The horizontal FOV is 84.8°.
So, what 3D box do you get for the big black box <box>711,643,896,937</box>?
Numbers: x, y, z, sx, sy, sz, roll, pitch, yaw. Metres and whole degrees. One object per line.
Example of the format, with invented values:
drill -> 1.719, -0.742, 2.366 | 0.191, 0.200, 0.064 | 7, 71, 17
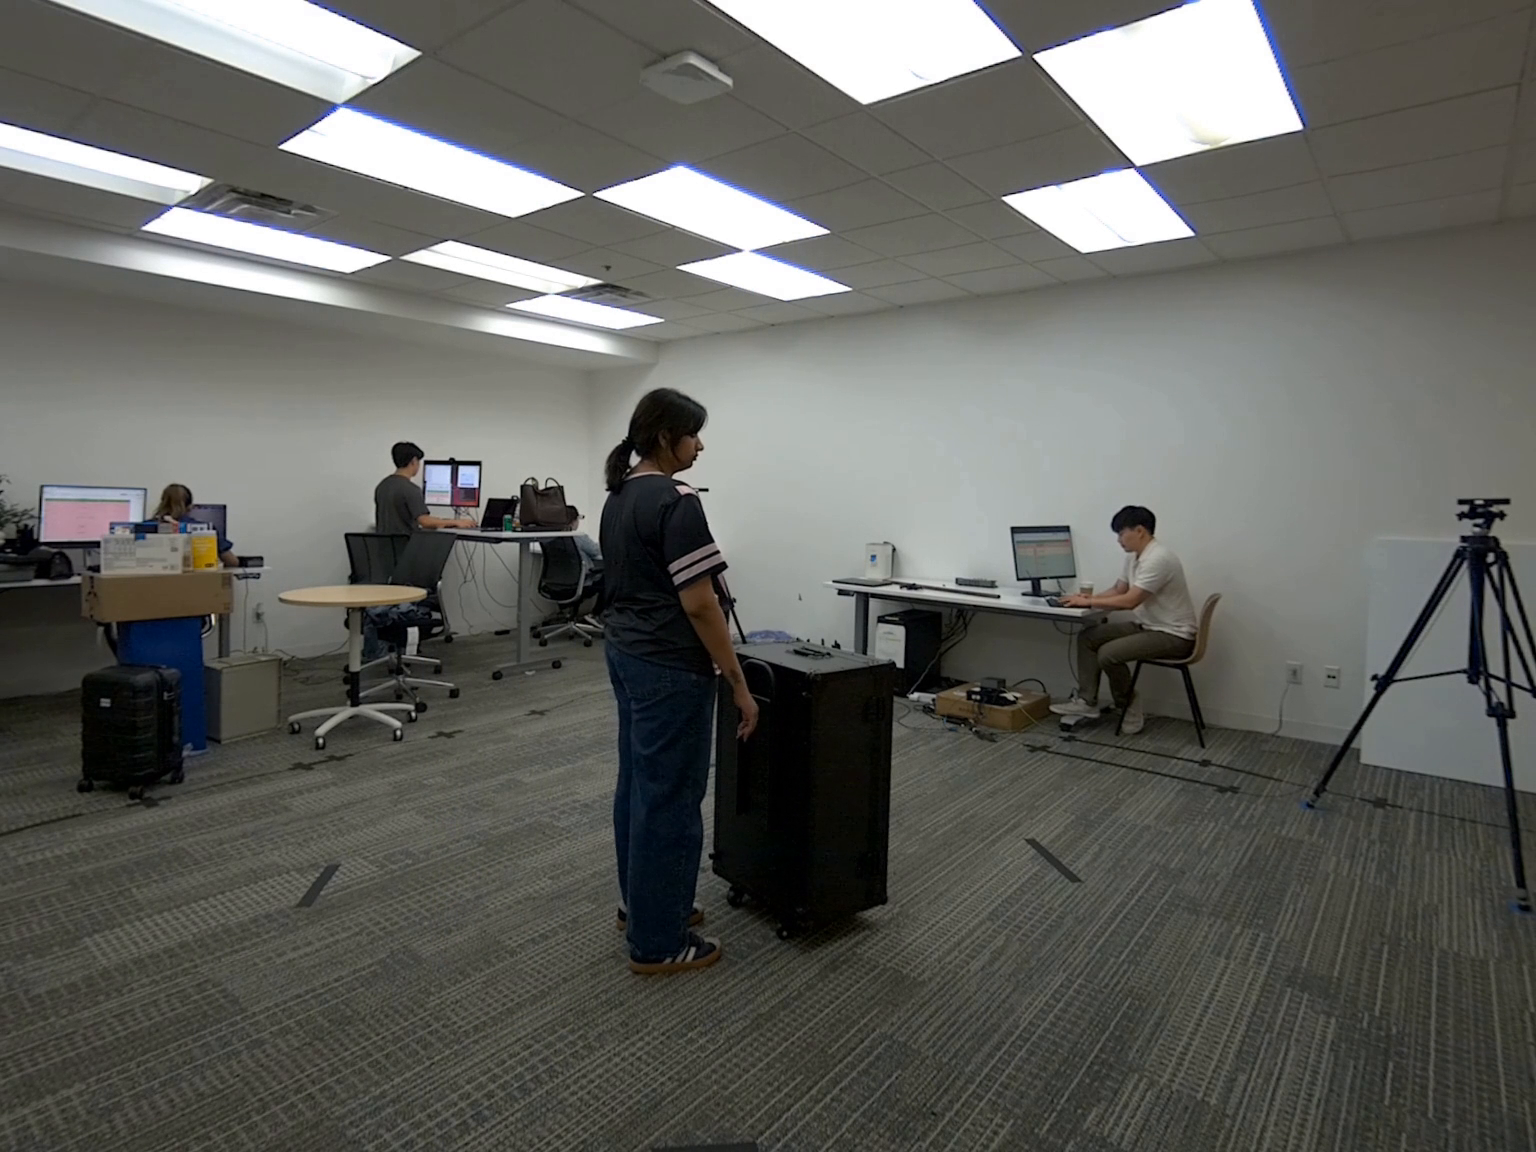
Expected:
big black box -> 0.097, 0.685, 2.800 | 0.374, 0.866, 0.541 | -1, 4, -38
